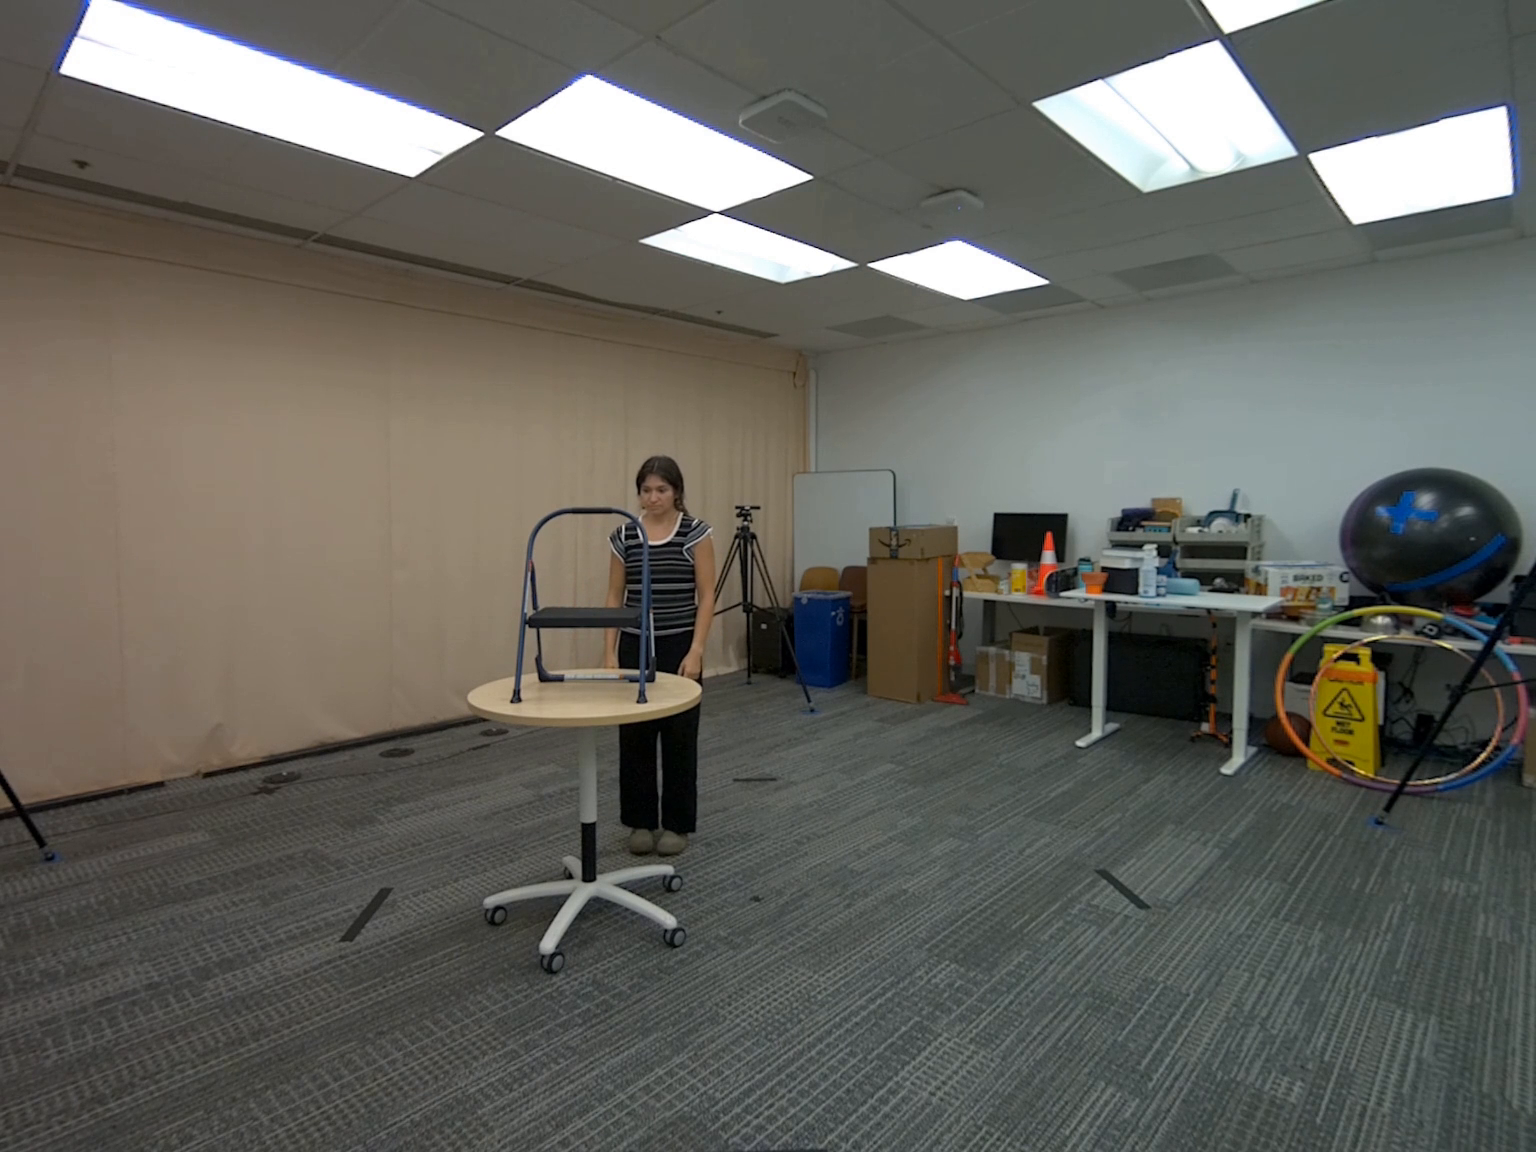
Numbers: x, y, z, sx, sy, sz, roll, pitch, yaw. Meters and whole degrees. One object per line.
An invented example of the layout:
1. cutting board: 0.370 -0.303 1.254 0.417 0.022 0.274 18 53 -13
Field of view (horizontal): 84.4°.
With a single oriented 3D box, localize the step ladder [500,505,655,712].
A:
1. step ladder: -0.596 0.088 2.763 0.431 0.605 0.349 3 2 1
